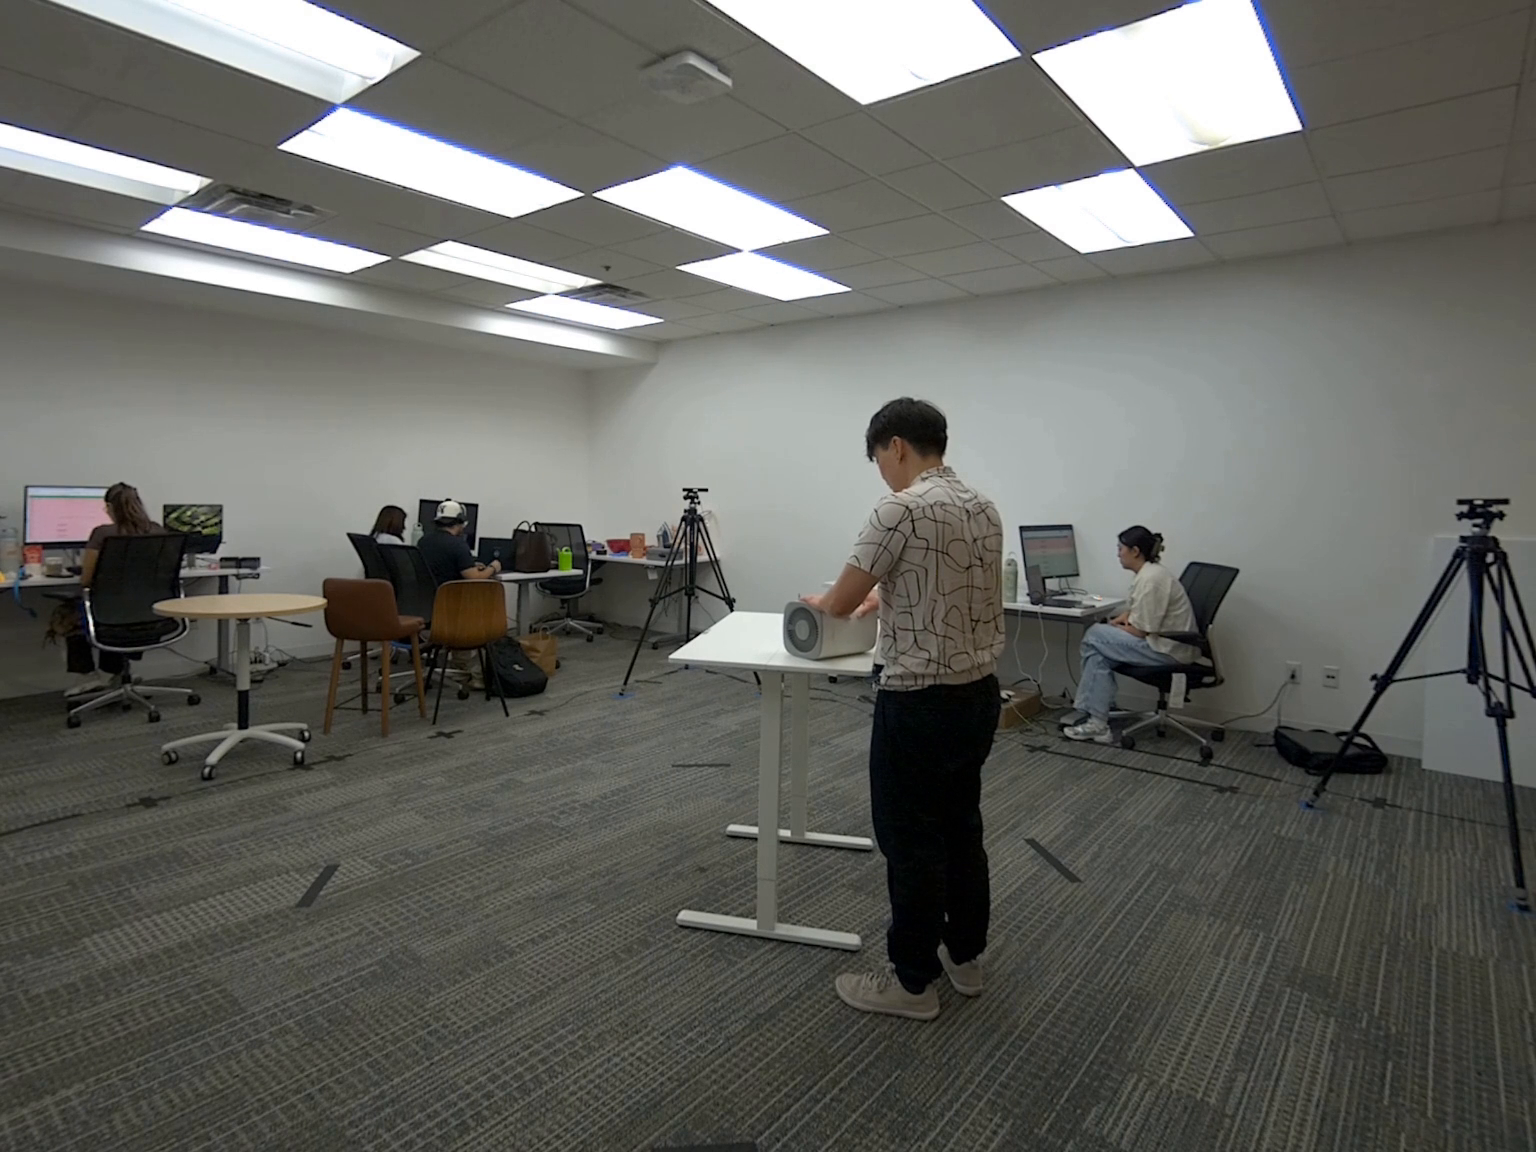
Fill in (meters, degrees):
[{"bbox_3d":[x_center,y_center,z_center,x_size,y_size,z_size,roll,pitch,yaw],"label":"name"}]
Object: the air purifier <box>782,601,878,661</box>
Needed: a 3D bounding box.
[{"bbox_3d":[0.198,0.154,2.661,0.257,0.170,0.177,-2,5,-38],"label":"air purifier"}]
